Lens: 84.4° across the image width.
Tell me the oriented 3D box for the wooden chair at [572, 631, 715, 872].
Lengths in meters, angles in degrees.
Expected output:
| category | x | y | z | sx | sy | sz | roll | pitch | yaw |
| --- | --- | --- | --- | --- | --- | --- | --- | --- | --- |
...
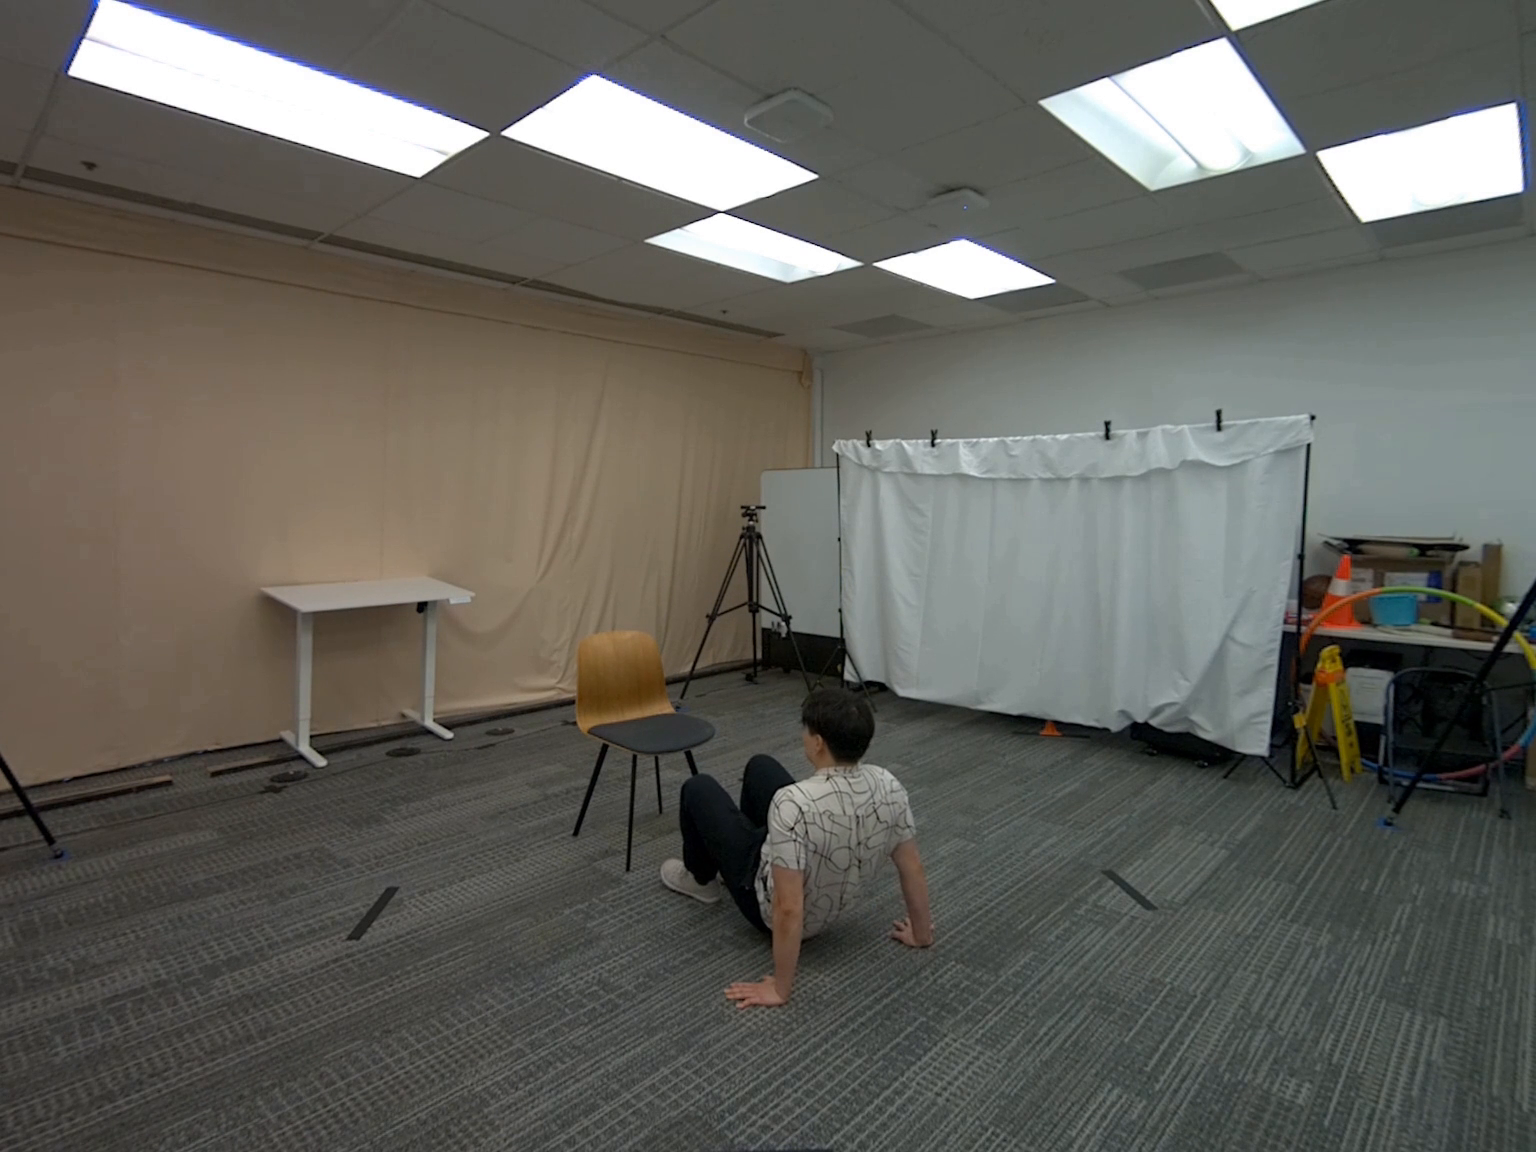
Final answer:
| category | x | y | z | sx | sy | sz | roll | pitch | yaw |
| --- | --- | --- | --- | --- | --- | --- | --- | --- | --- |
| wooden chair | -0.509 | 0.678 | 3.492 | 0.464 | 0.878 | 0.539 | -3 | -1 | -38 |
